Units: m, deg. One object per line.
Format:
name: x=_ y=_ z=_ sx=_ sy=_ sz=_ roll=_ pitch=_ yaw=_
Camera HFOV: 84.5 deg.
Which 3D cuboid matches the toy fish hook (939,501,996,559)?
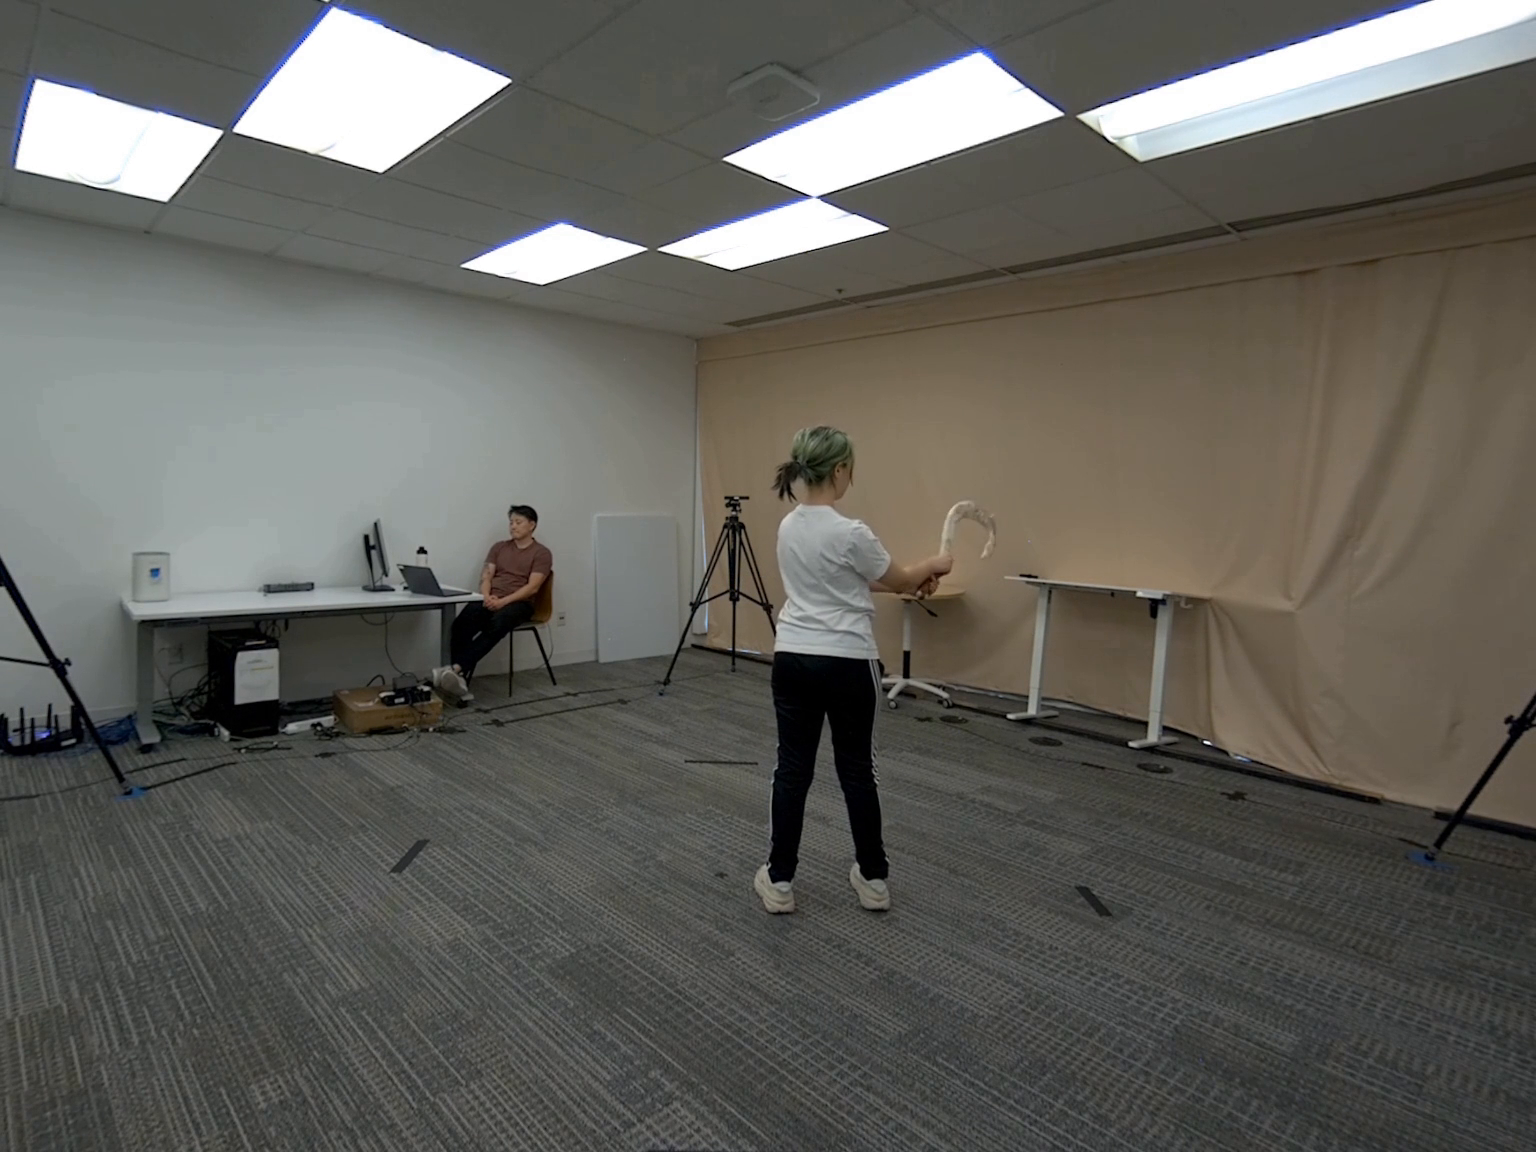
toy fish hook: x=0.709 y=-0.058 z=3.145 sx=0.224 sy=0.509 sz=0.048 roll=34 pitch=-27 yaw=-1
